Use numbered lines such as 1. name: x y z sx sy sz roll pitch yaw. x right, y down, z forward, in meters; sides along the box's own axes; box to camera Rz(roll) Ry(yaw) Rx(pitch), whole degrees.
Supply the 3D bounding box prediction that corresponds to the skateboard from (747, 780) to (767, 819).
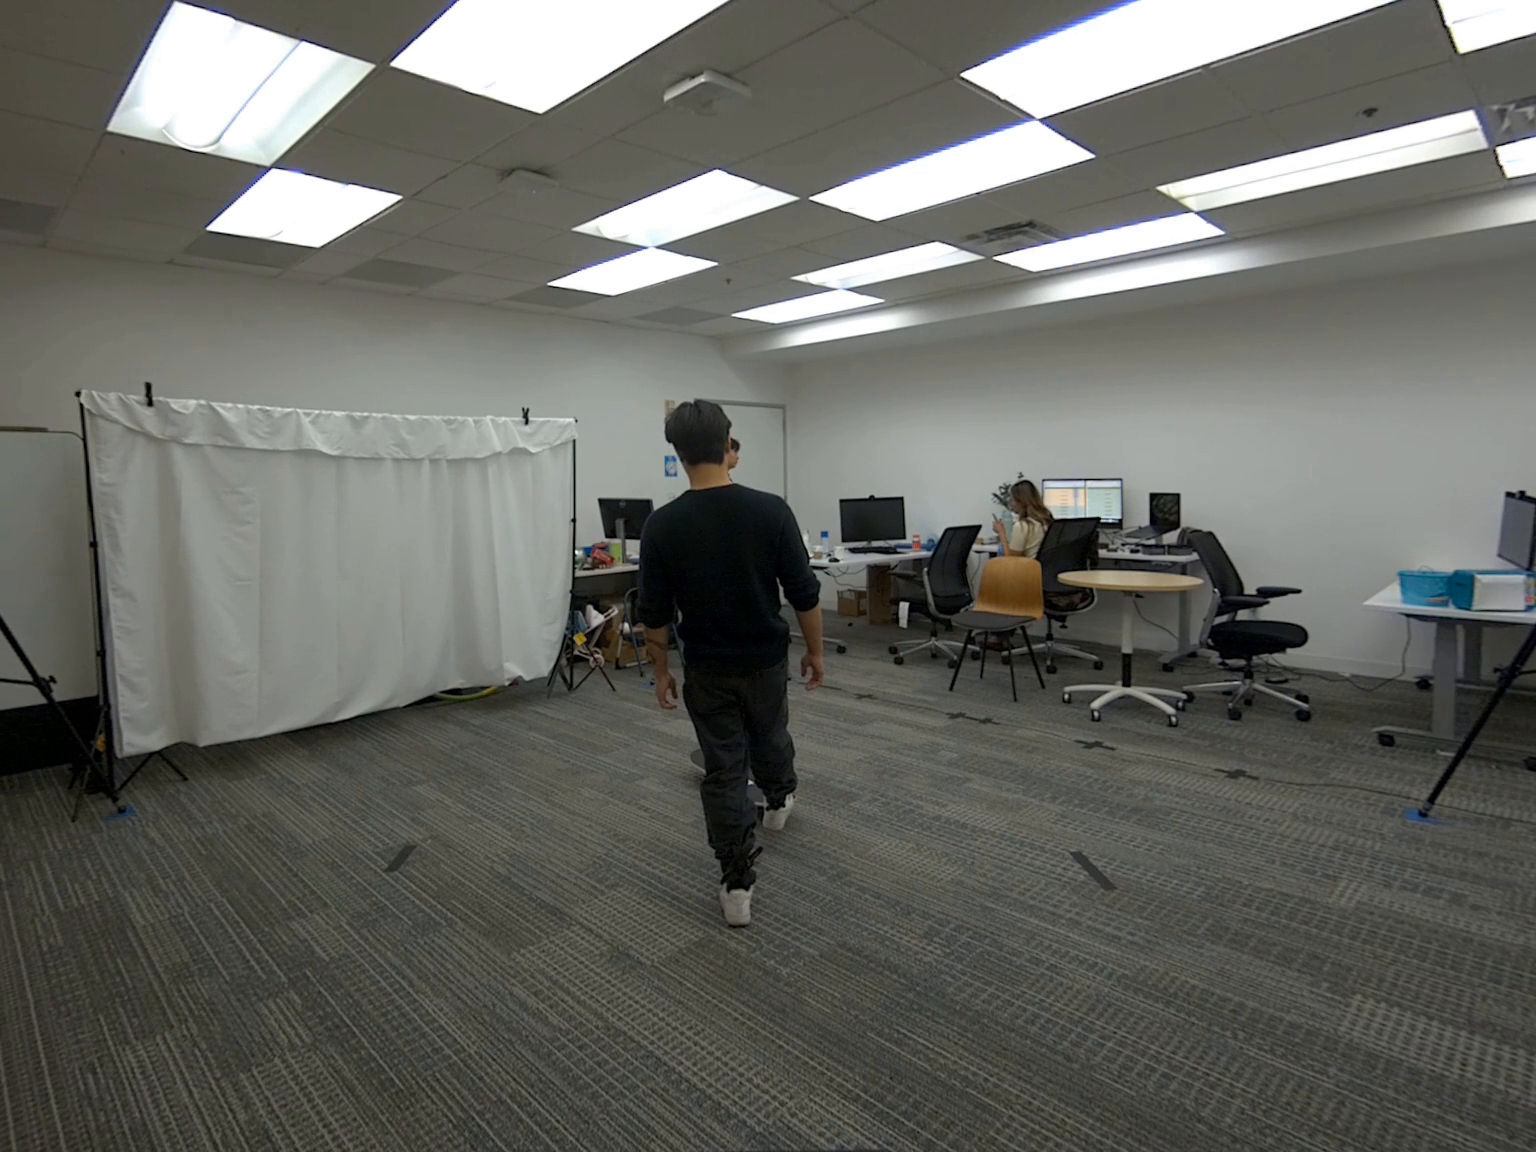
1. skateboard: -0.117 0.918 3.750 0.189 0.110 0.807 -3 7 -29
